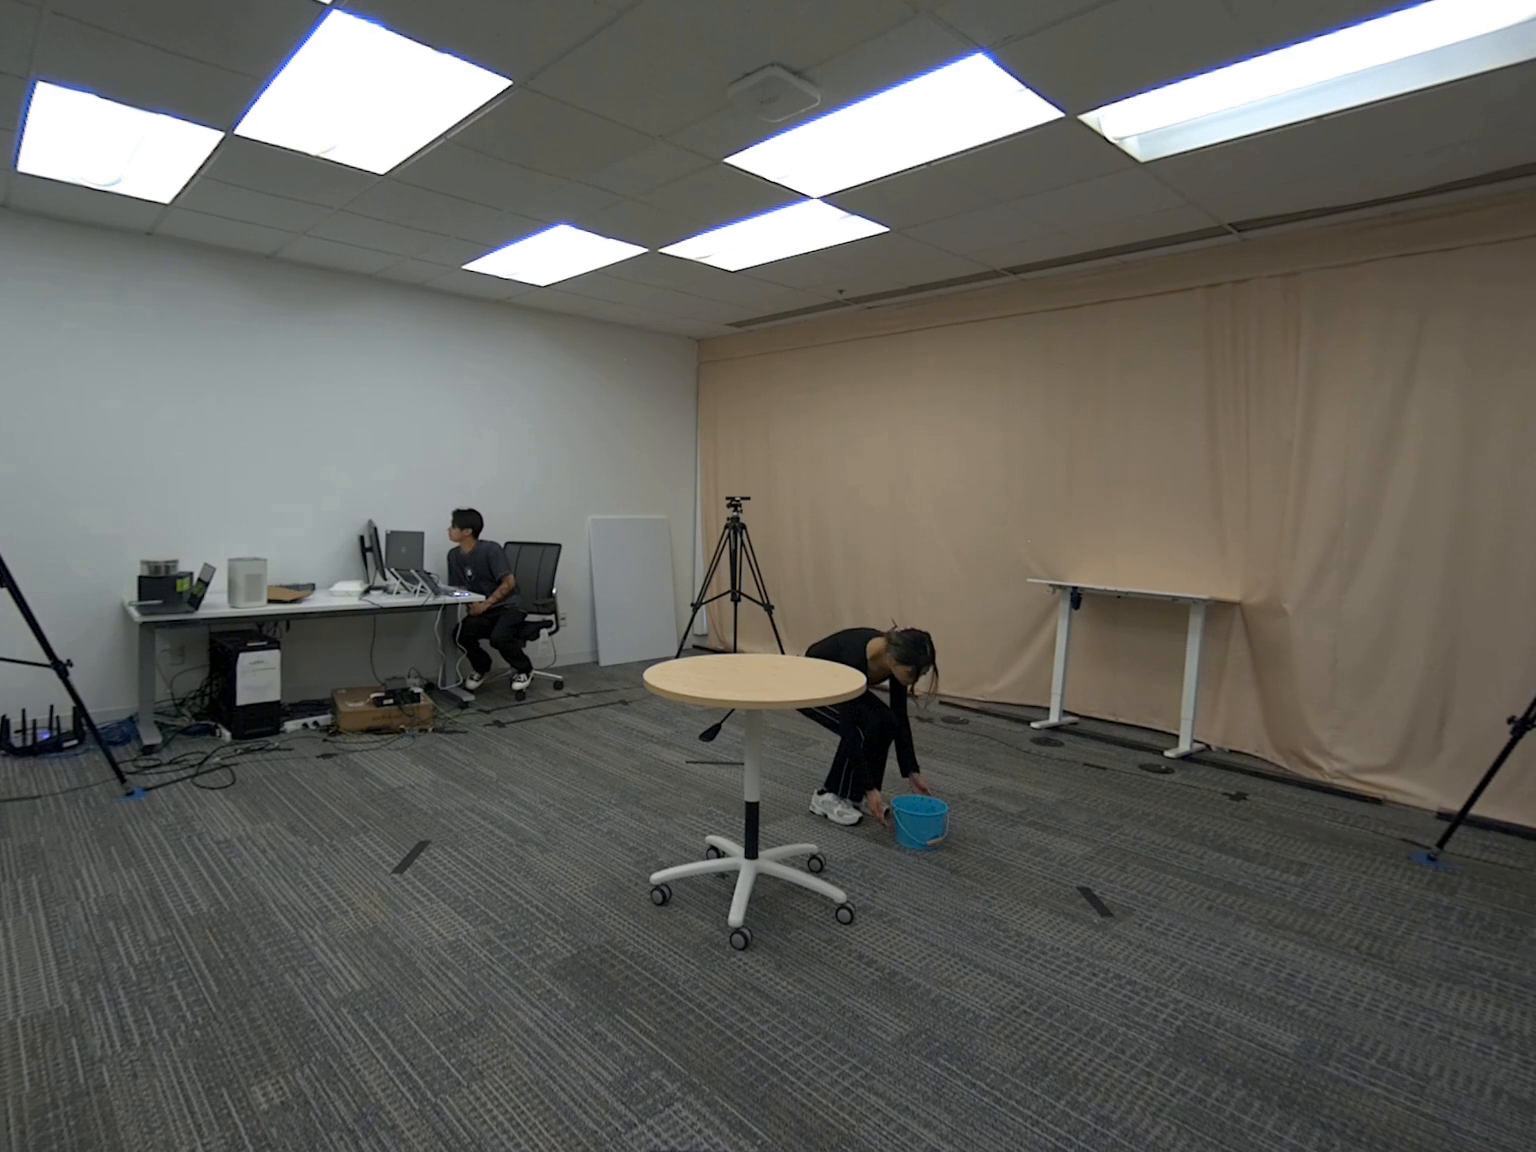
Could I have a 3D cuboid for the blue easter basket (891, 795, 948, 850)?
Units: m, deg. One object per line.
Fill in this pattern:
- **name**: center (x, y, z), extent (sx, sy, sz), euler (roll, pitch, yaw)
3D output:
- **blue easter basket**: center (0.607, 1.017, 3.472), extent (0.243, 0.155, 0.244), euler (1, 4, -1)
